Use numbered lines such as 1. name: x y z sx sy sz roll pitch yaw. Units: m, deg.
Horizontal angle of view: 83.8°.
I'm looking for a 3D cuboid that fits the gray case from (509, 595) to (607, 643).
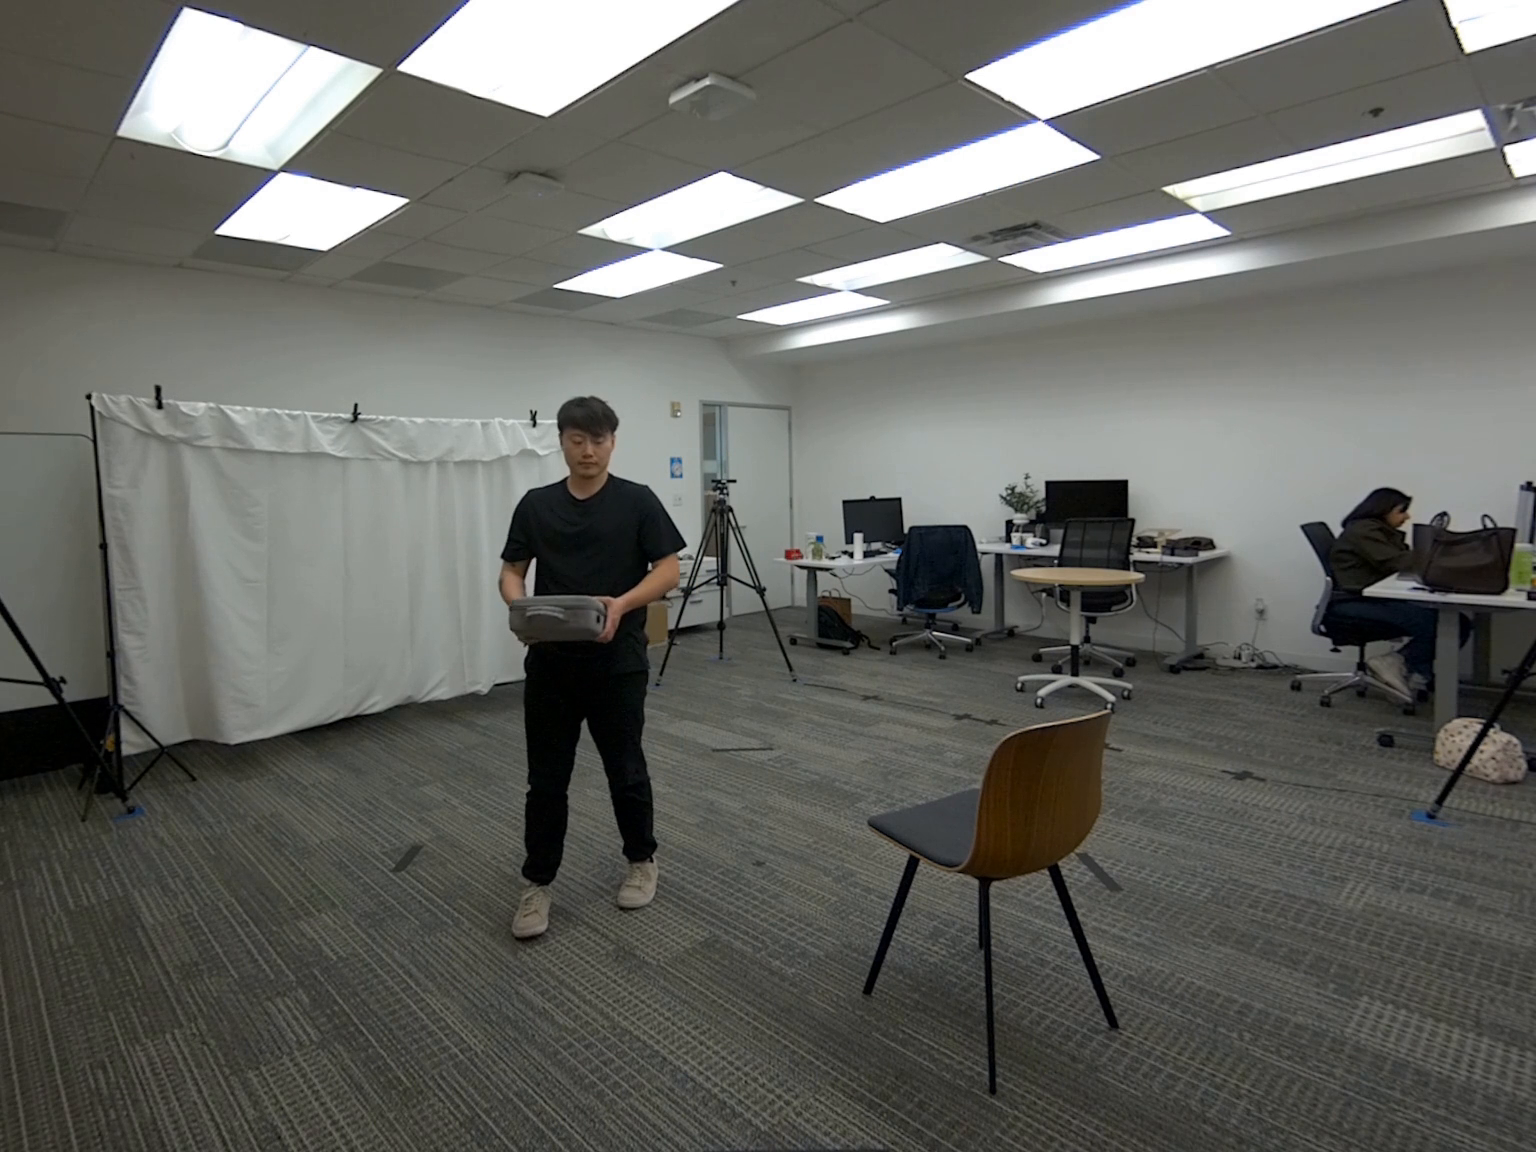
1. gray case: -0.606 0.127 2.519 0.257 0.105 0.257 0 -10 2
